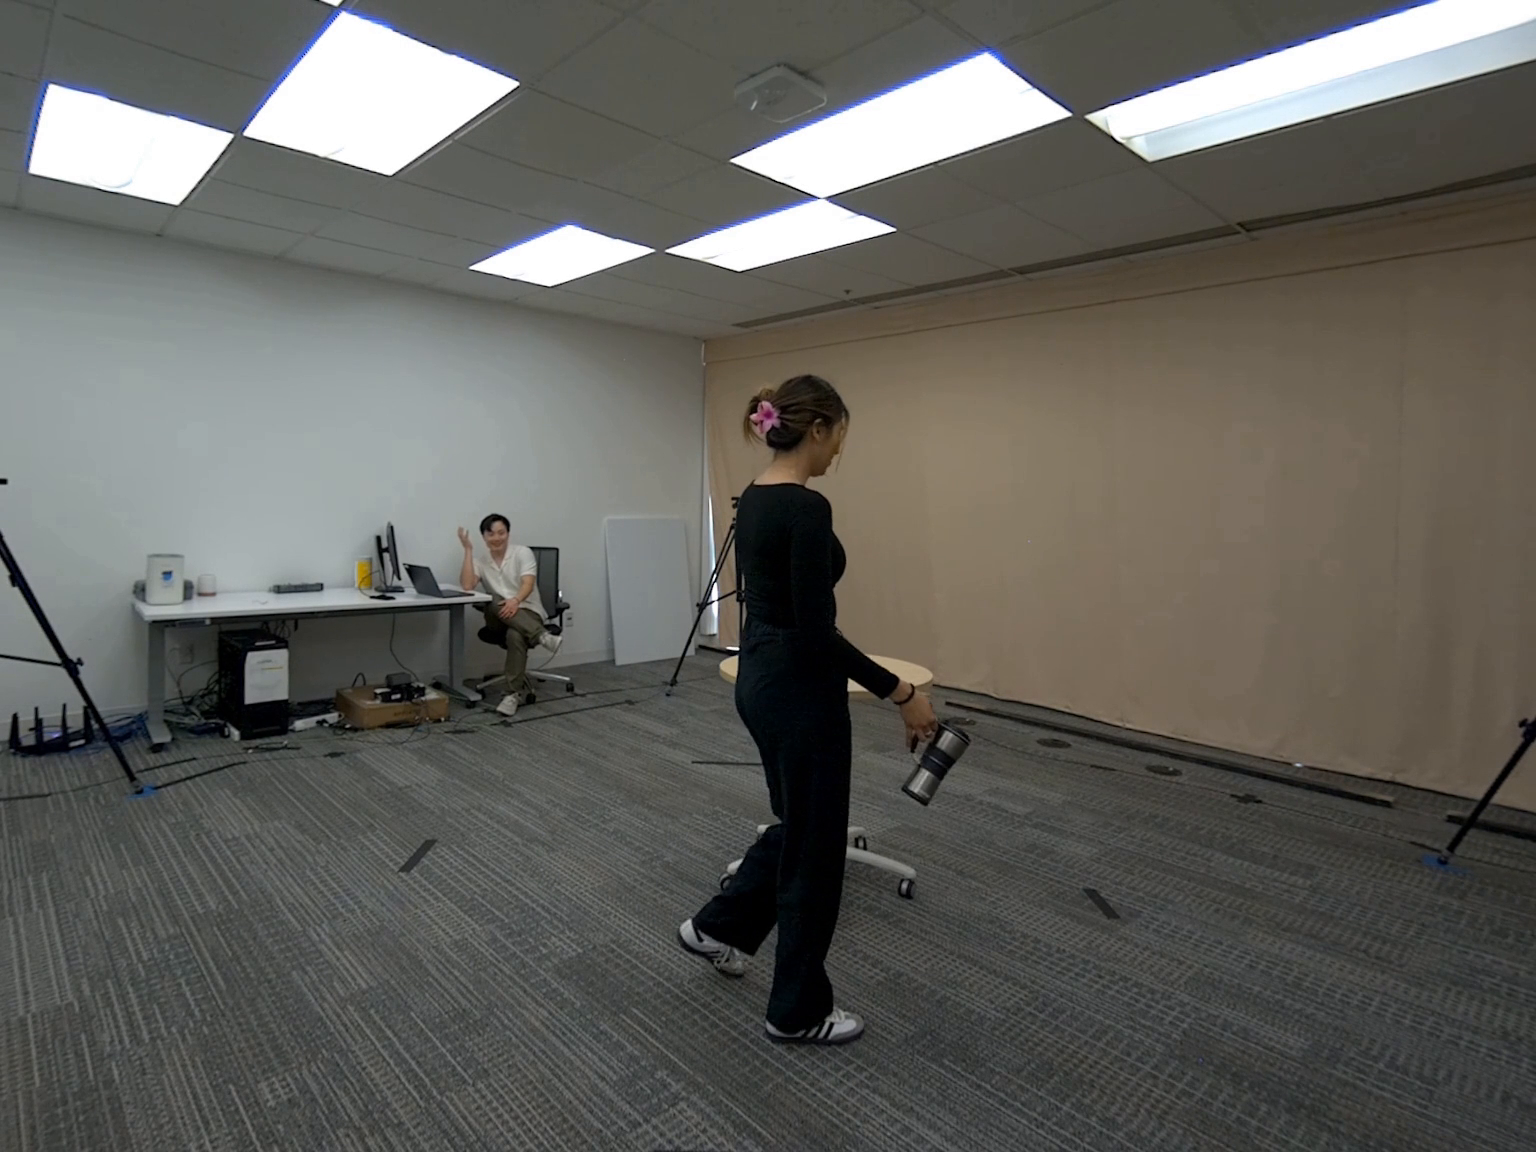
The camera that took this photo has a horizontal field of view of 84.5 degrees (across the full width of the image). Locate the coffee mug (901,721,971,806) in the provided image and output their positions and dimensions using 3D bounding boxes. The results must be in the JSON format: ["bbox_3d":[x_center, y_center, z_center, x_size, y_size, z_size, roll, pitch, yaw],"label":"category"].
[{"bbox_3d":[0.371,0.452,2.045,0.126,0.203,0.085,29,-6,39],"label":"coffee mug"}]
